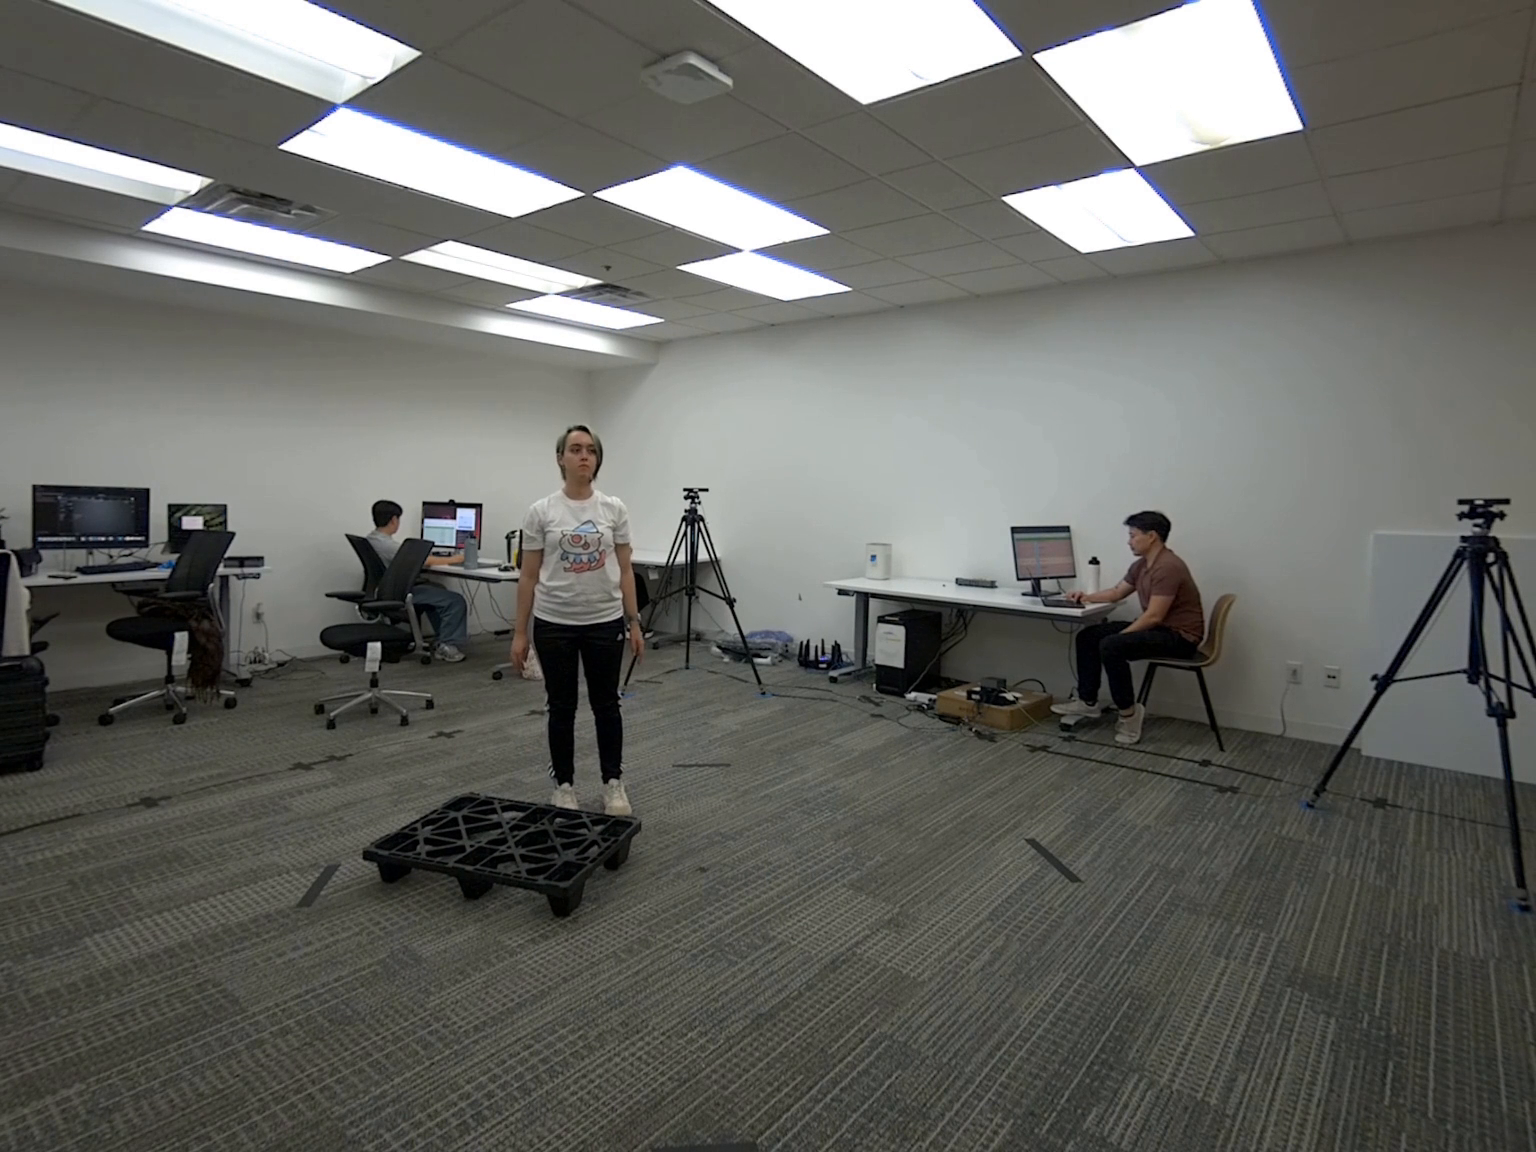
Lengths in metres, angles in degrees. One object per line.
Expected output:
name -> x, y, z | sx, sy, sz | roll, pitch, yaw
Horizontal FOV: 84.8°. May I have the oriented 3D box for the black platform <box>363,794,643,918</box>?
black platform -> -0.951, 0.991, 3.080 | 0.821, 0.143, 0.596 | 3, 6, 17
